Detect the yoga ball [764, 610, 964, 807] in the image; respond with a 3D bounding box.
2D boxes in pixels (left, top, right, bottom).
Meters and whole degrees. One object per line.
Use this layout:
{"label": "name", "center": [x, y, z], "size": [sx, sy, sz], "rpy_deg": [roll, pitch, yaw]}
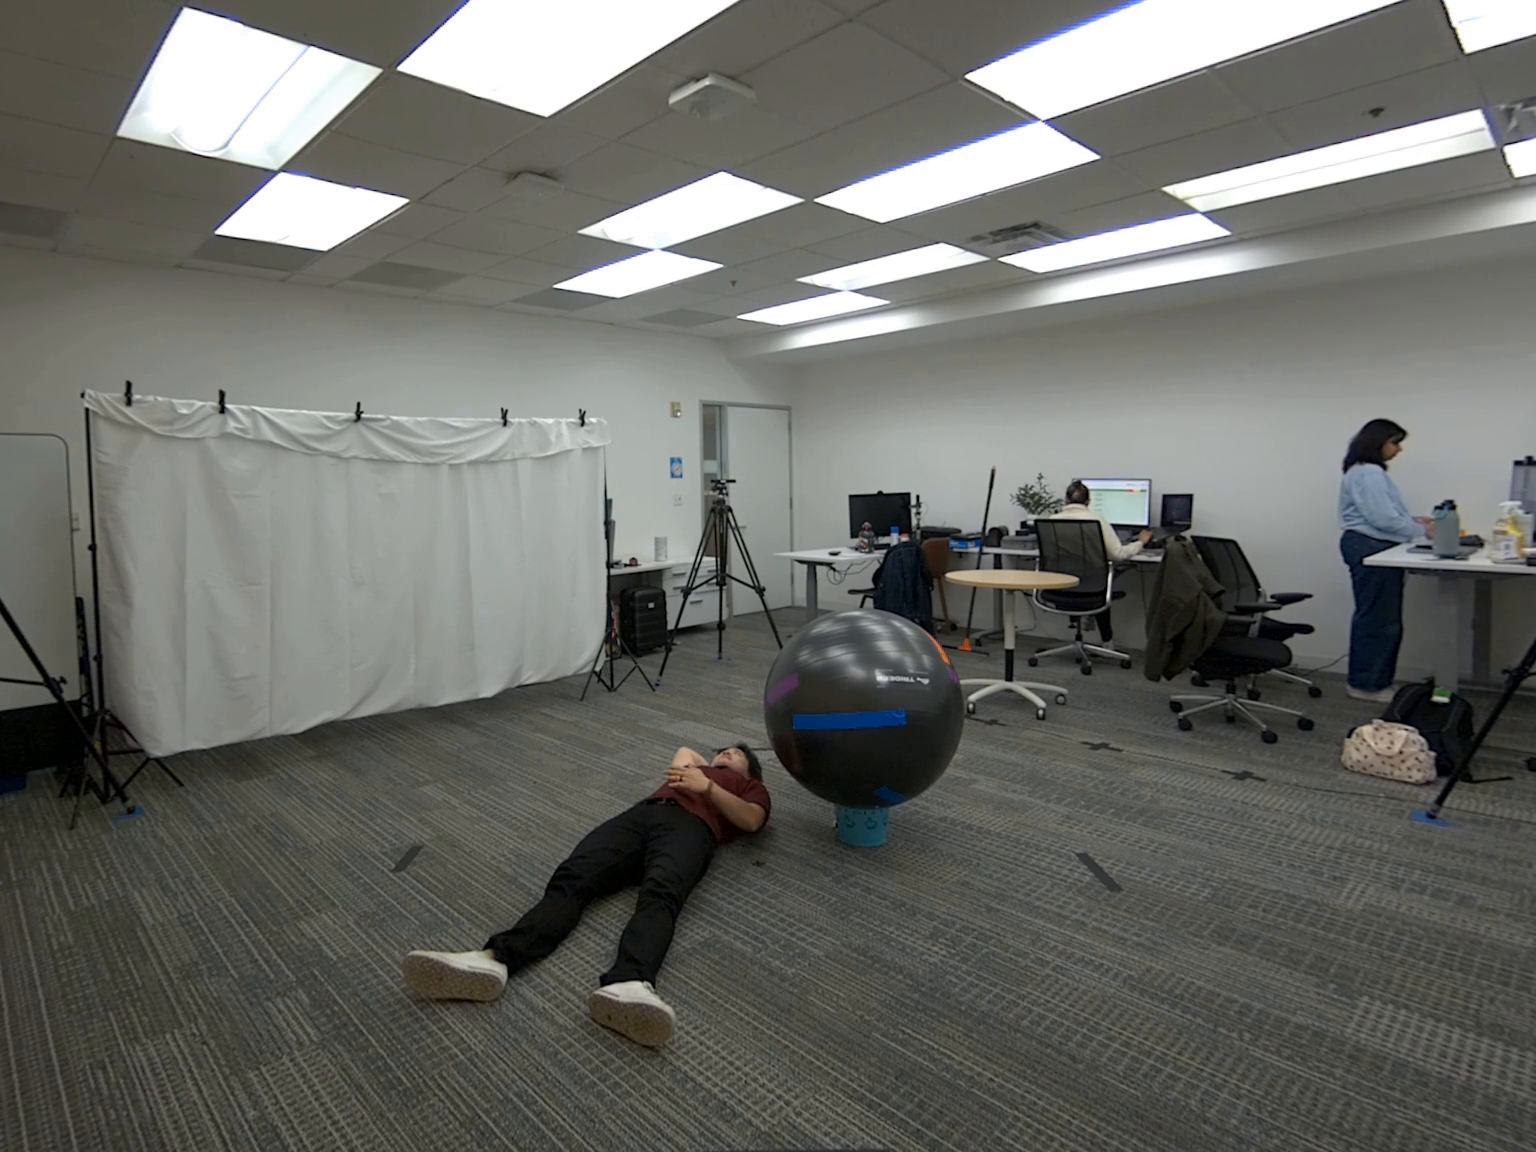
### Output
{"label": "yoga ball", "center": [0.366, 0.509, 3.296], "size": [0.757, 0.755, 0.762], "rpy_deg": [-1, 5, -2]}
